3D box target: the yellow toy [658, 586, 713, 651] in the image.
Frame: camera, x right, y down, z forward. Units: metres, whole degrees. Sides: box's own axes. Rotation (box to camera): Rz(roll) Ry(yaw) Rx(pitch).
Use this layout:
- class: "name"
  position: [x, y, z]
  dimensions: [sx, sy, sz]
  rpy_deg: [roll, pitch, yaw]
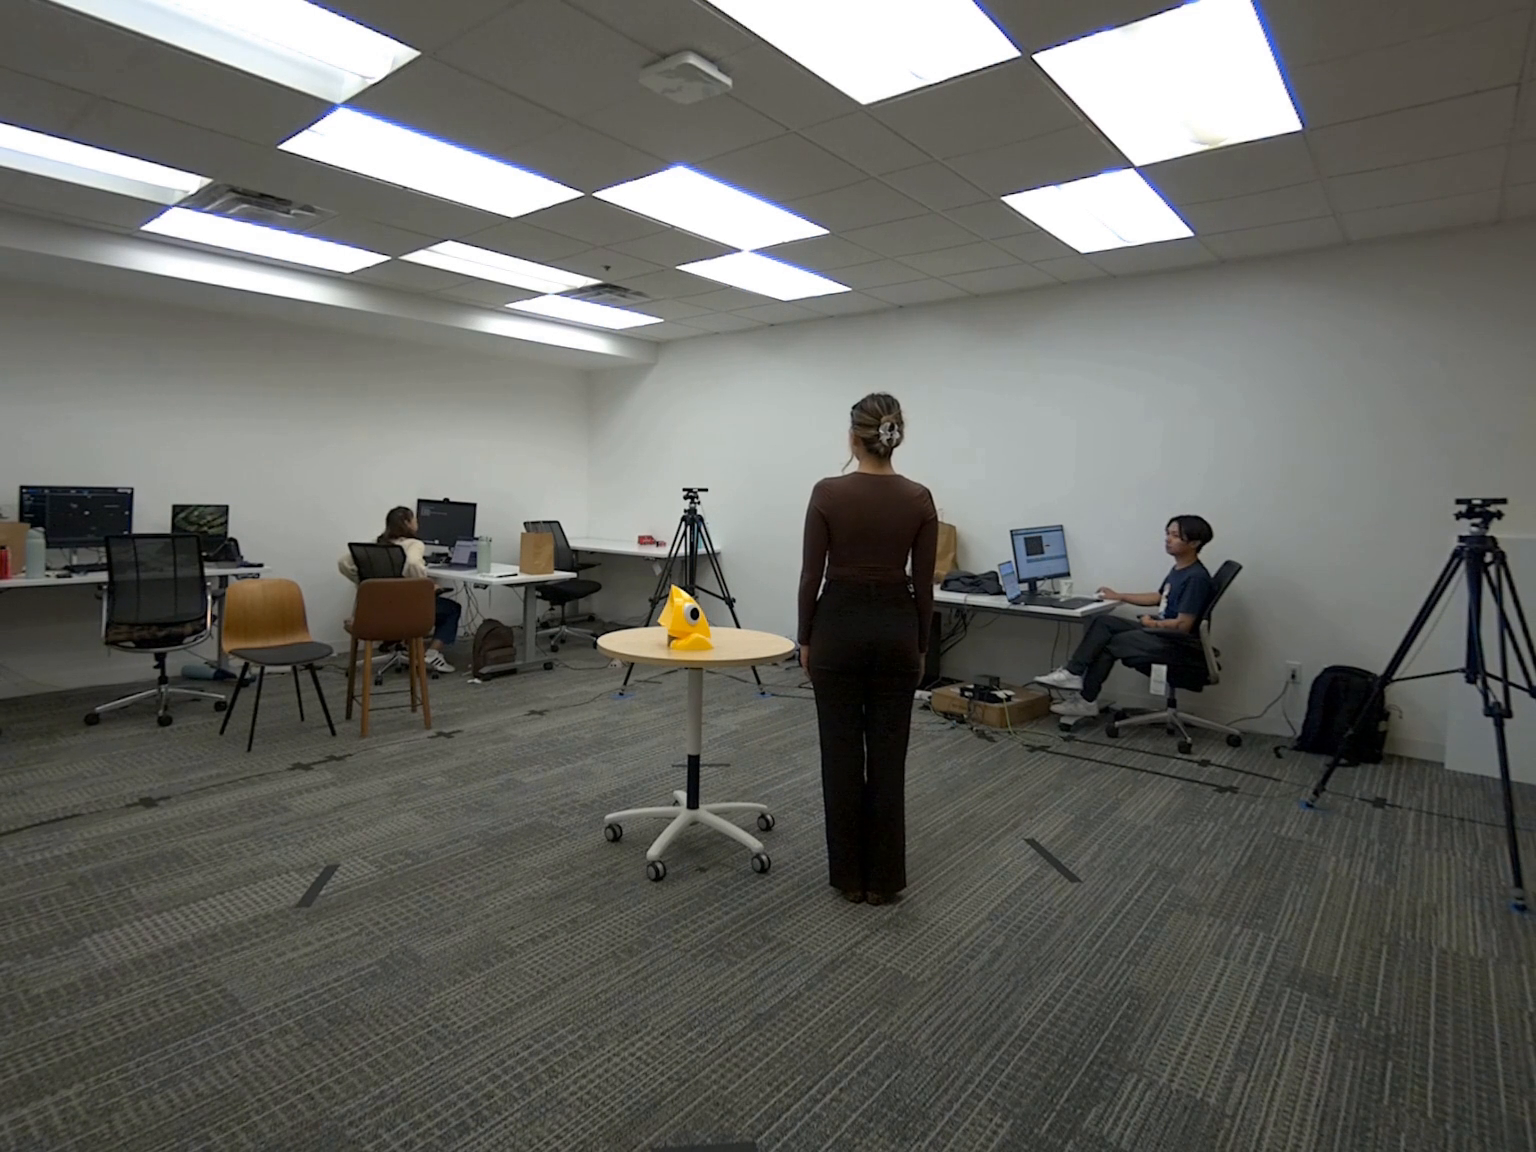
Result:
- class: "yellow toy"
  position: [-0.316, 0.145, 3.204]
  dimensions: [0.189, 0.230, 0.209]
  rpy_deg: [0, 4, -19]
